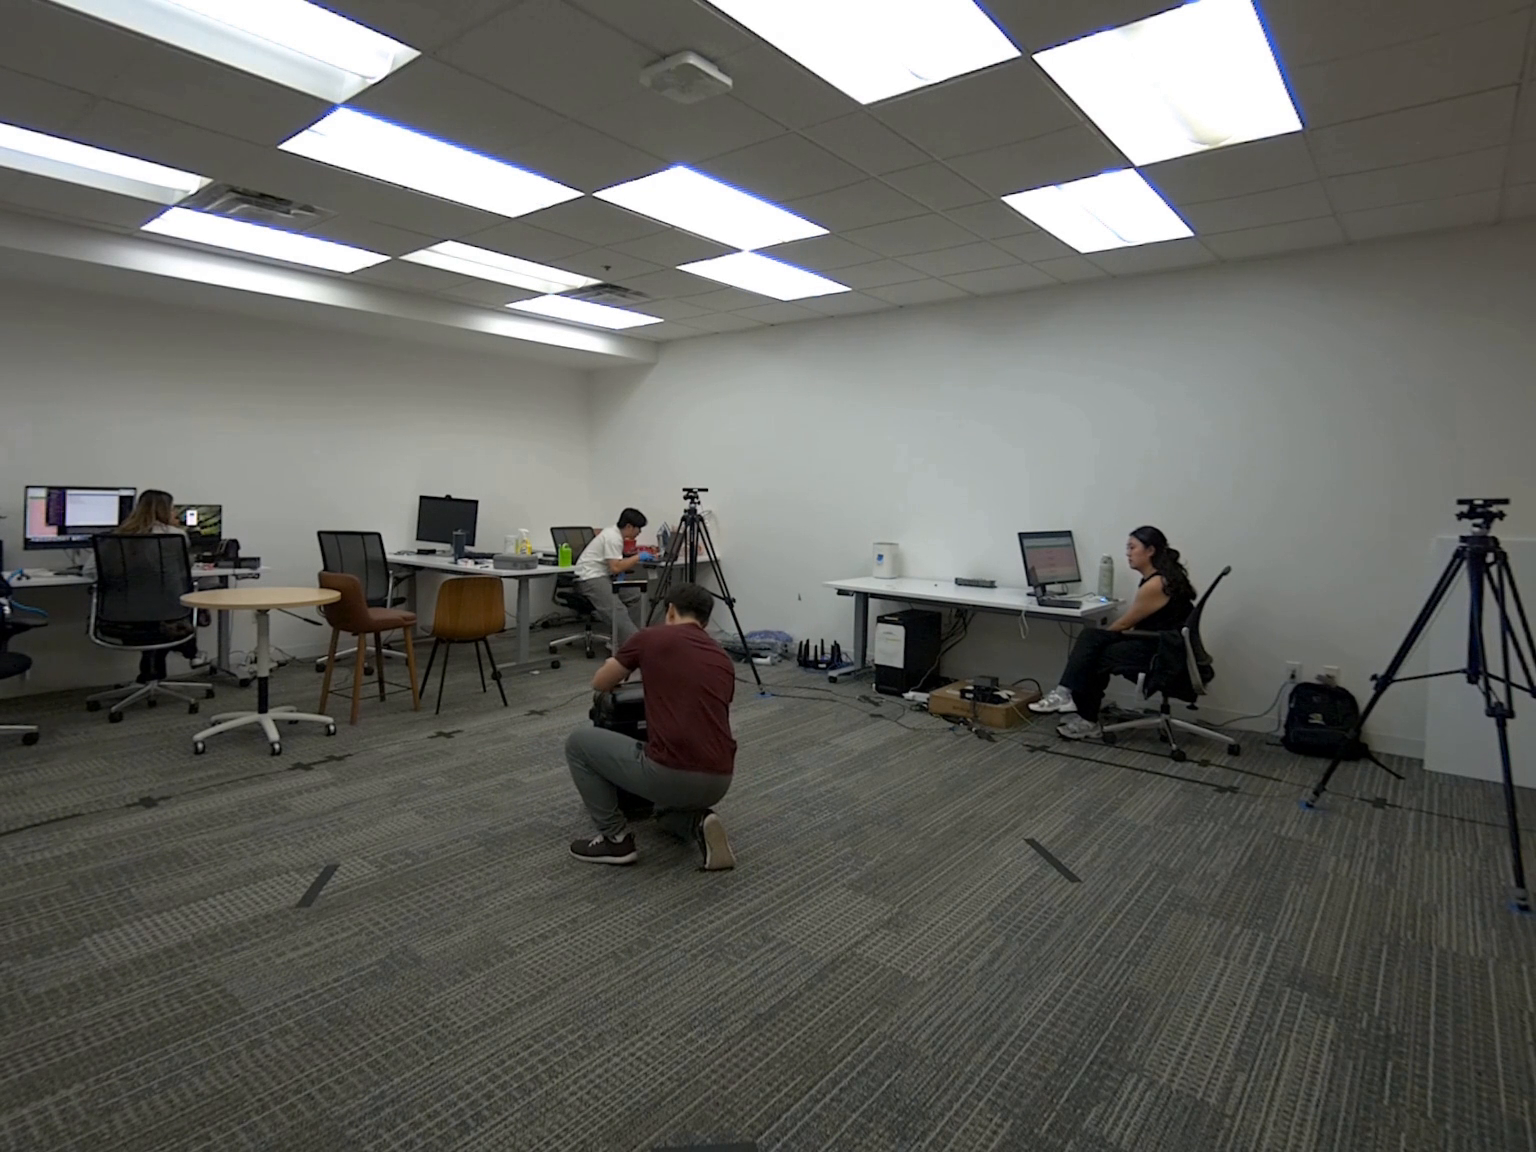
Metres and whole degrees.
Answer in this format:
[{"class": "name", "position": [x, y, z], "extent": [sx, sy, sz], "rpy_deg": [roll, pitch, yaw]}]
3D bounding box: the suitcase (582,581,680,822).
[{"class": "suitcase", "position": [-0.570, 0.525, 3.634], "extent": [0.375, 0.975, 0.264], "rpy_deg": [1, 4, -24]}]
